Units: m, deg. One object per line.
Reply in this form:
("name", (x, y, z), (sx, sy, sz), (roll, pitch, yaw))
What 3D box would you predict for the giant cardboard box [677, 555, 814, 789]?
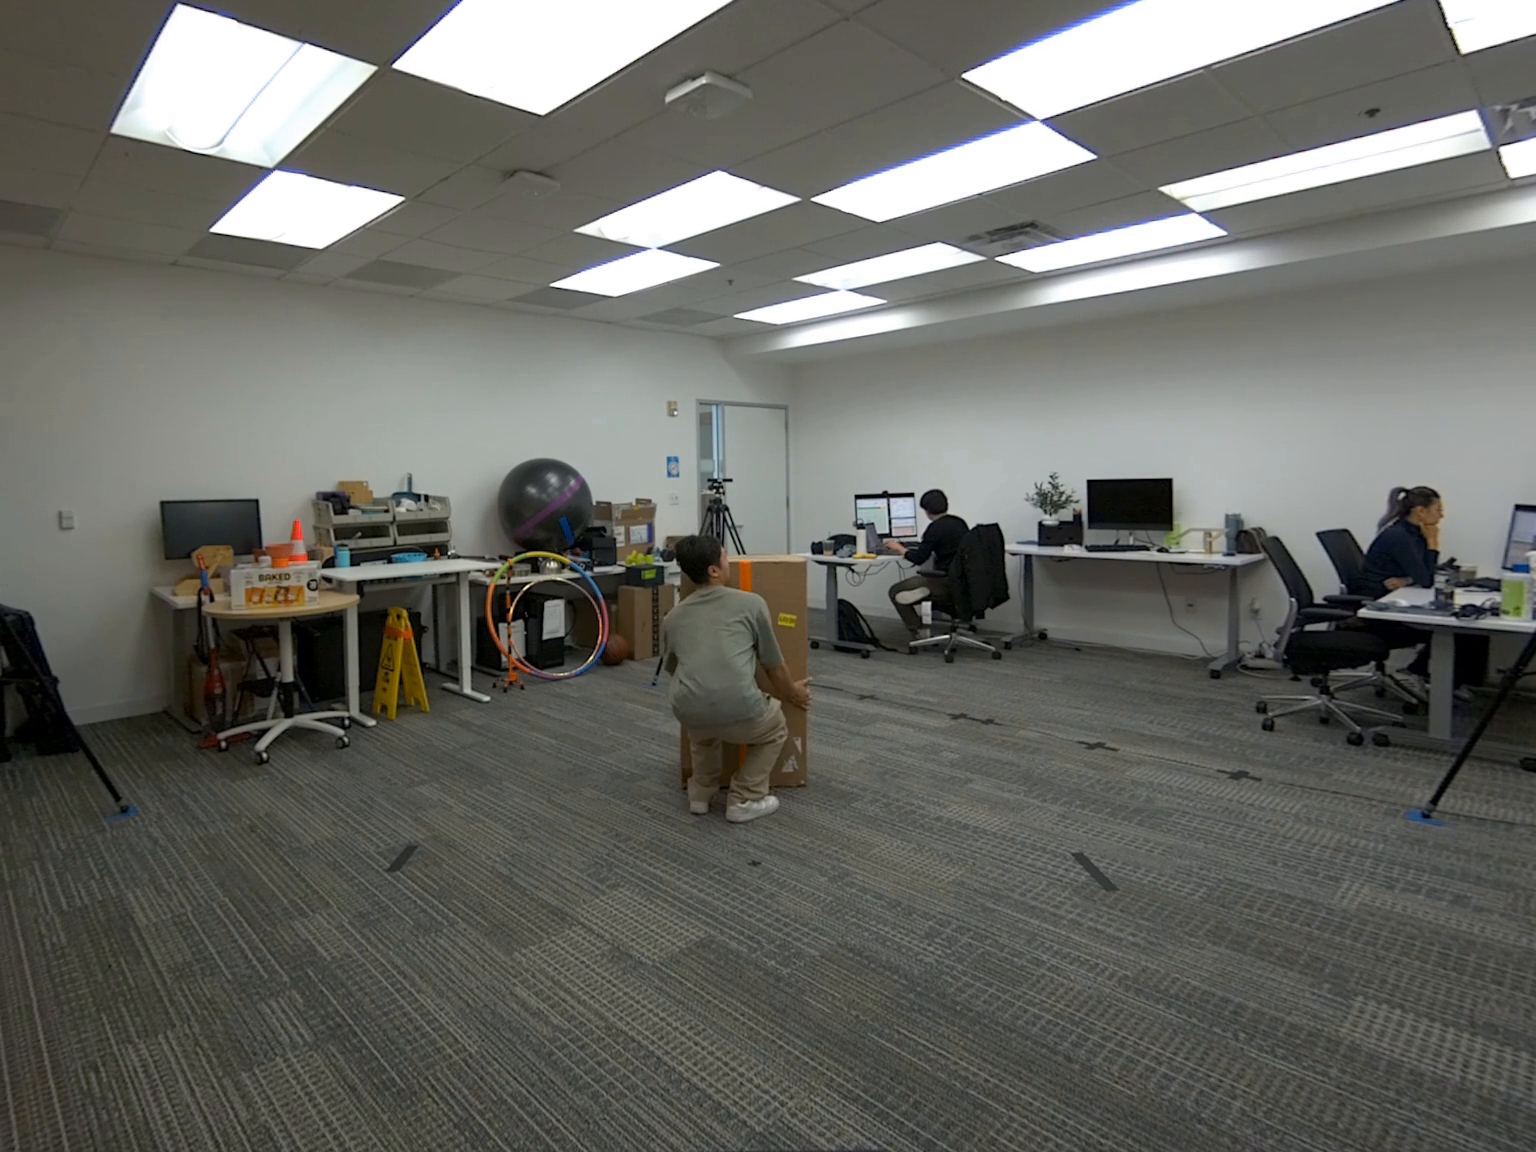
("giant cardboard box", (-0.122, 0.415, 4.057), (0.576, 1.024, 0.428), (0, 2, -3))
